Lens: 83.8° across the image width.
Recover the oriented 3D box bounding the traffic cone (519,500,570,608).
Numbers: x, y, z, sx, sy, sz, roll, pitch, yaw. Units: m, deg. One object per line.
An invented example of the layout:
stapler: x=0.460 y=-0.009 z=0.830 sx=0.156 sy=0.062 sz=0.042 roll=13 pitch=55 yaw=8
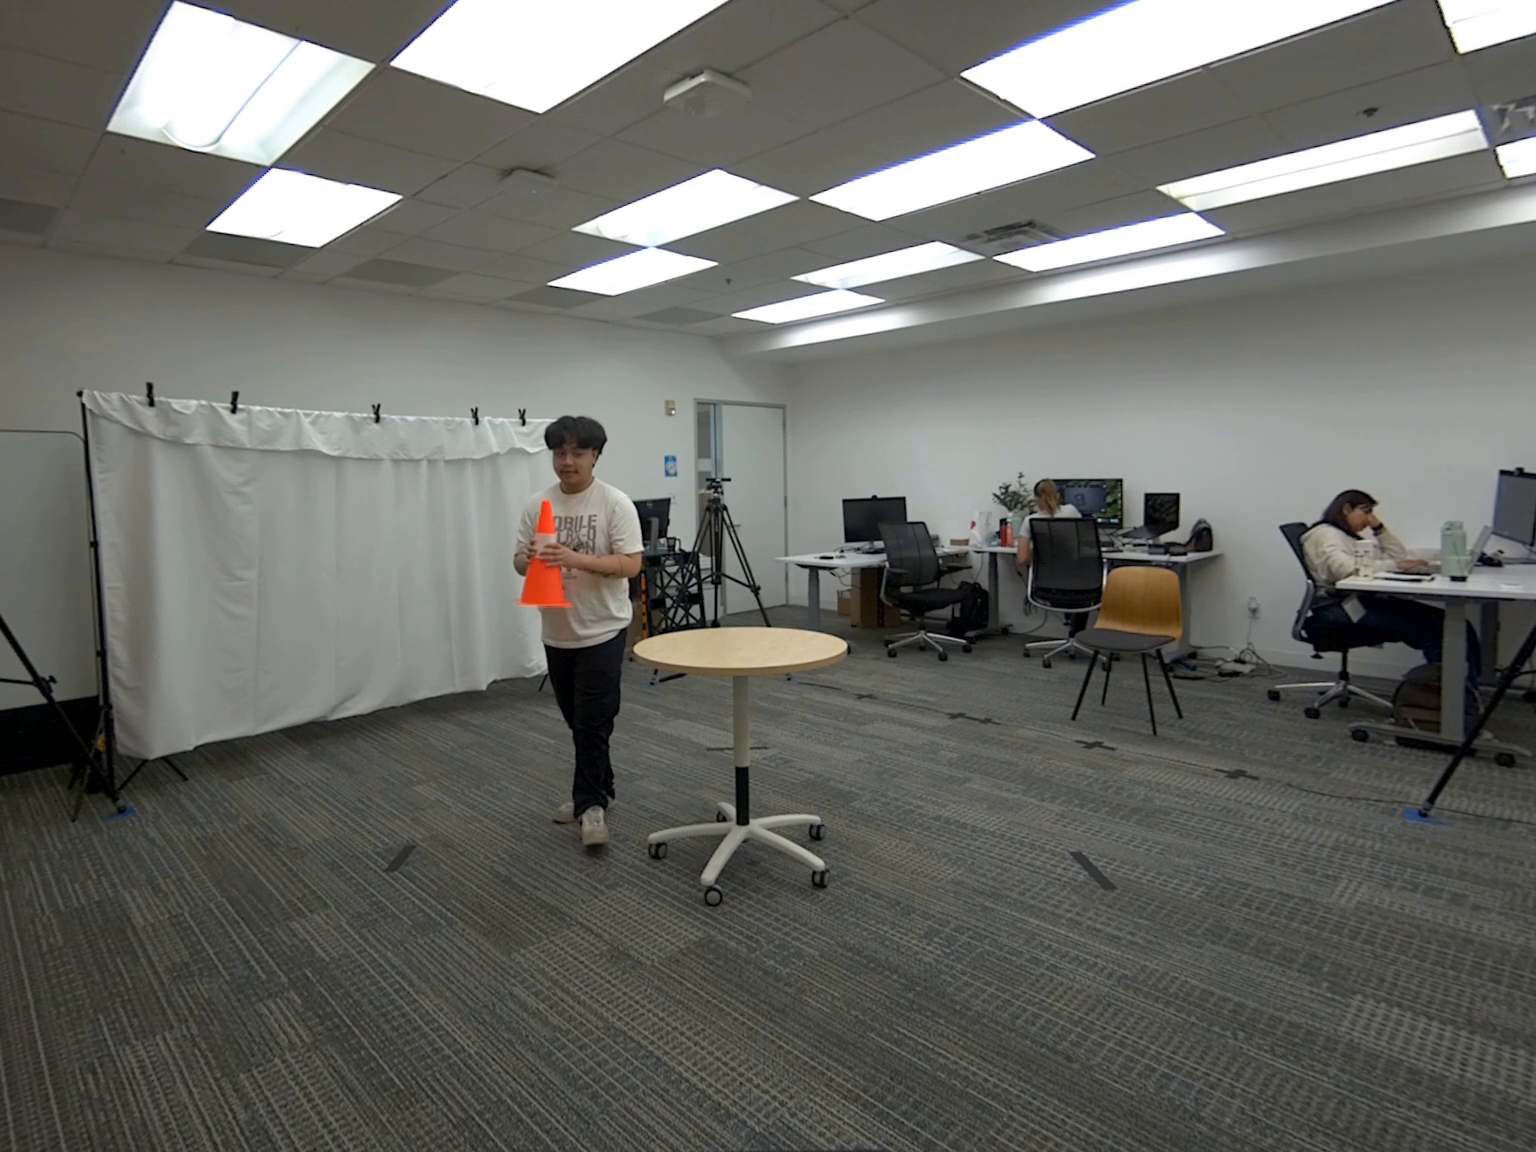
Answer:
traffic cone: x=-0.853 y=-0.085 z=3.184 sx=0.205 sy=0.382 sz=0.204 roll=2 pitch=5 yaw=8
